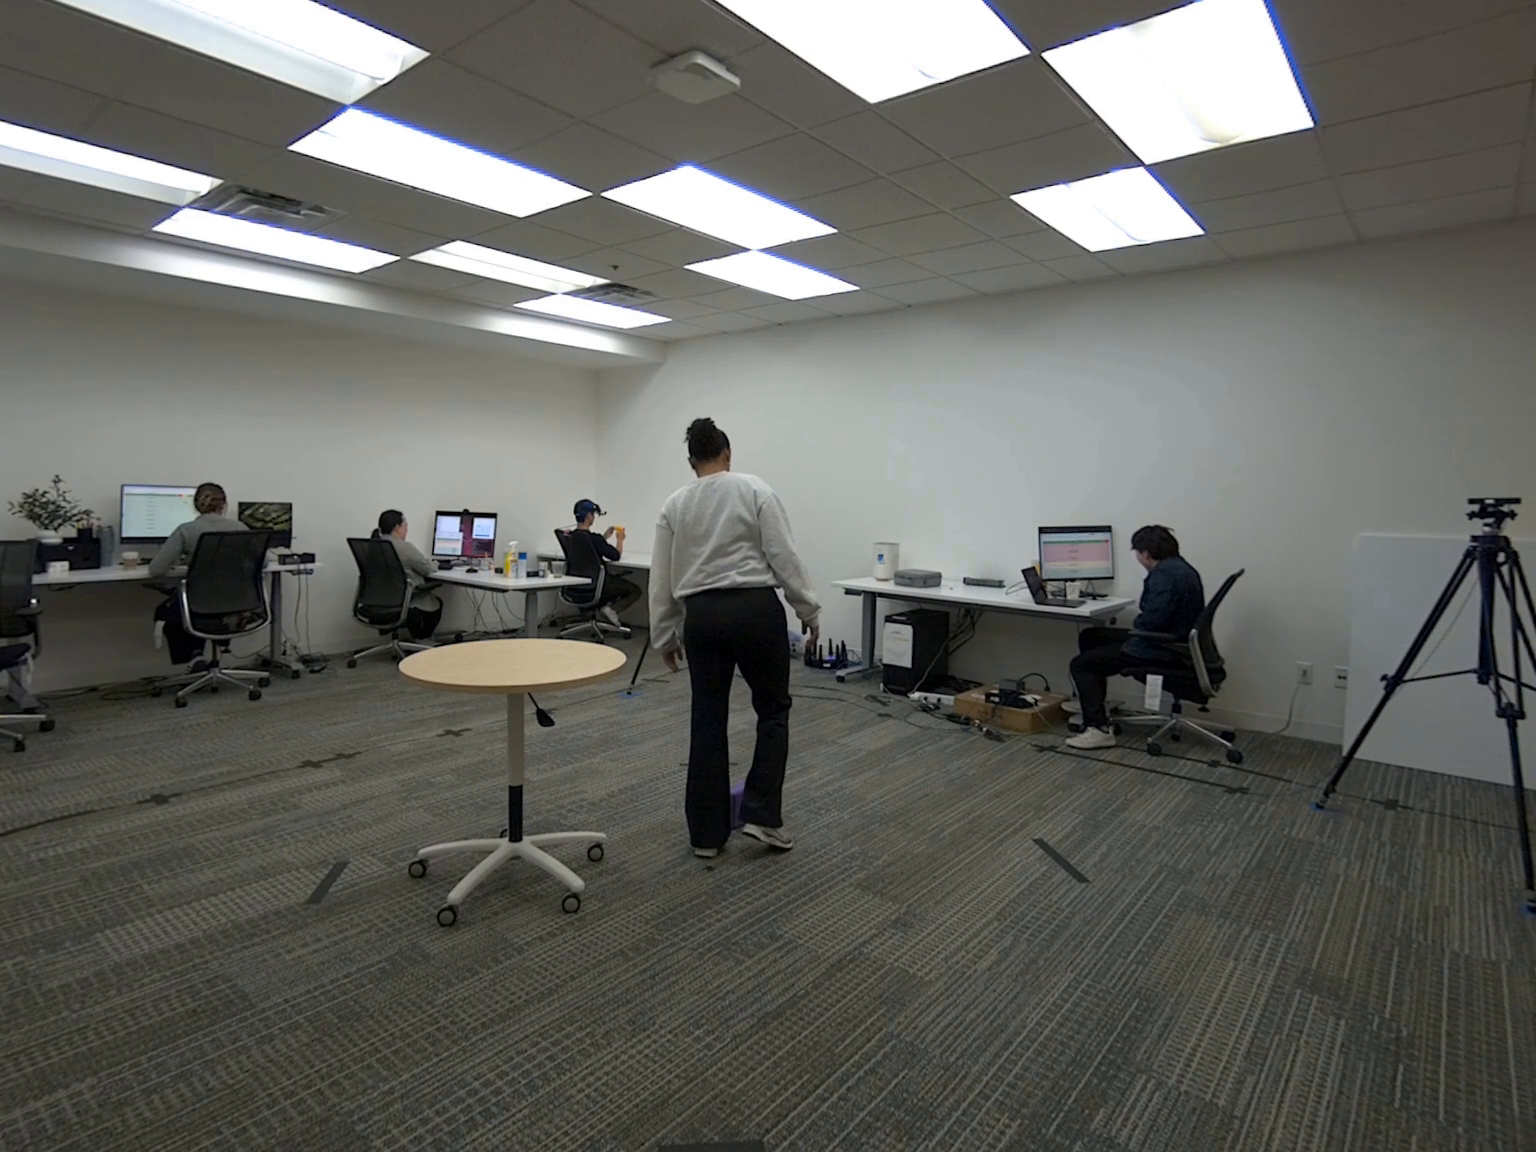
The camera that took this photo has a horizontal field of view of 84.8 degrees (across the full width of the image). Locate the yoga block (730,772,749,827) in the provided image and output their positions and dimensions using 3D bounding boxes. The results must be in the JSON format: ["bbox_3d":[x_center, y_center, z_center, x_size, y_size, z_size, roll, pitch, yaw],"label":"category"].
[{"bbox_3d":[-0.113,0.942,3.566,0.079,0.148,0.223,4,4,33],"label":"yoga block"}]
